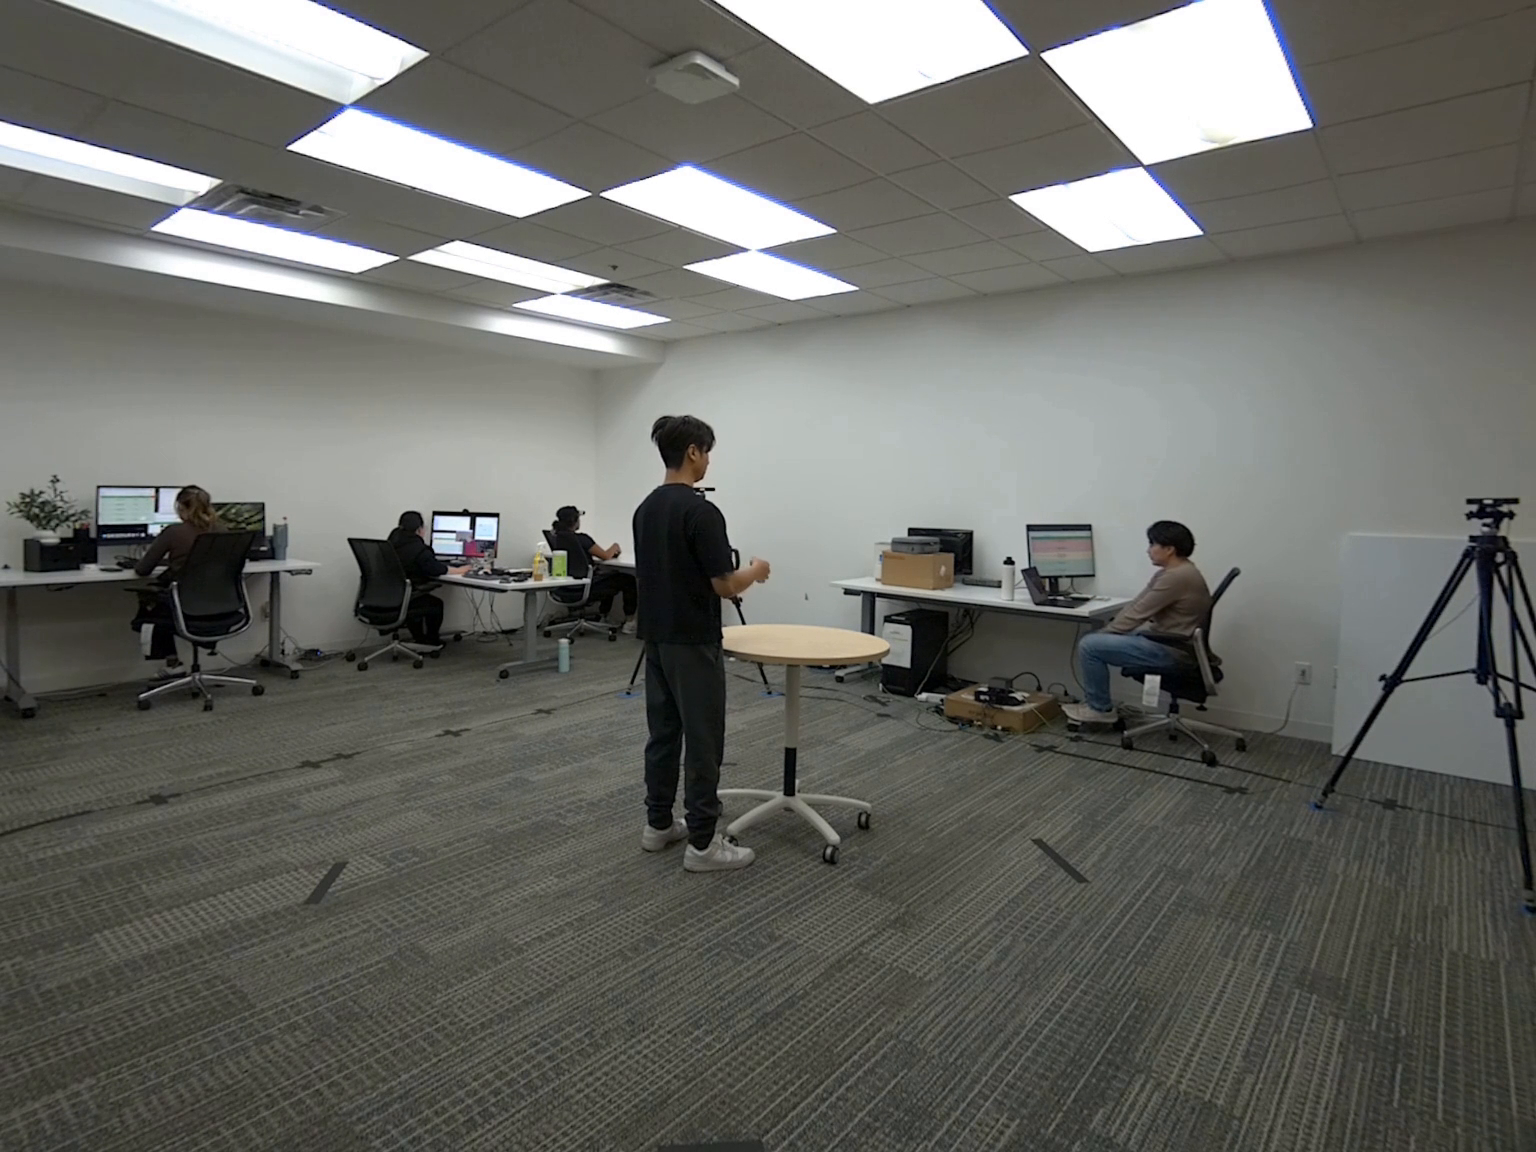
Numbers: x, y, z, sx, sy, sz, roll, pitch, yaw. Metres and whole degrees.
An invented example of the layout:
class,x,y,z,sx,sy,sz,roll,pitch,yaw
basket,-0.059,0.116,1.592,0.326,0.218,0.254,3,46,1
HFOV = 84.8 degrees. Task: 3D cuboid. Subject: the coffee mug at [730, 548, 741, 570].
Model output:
class,x,y,z,sx,sy,sz,roll,pitch,yaw
coffee mug,-0.197,-0.022,3.474,0.088,0.206,0.119,-5,-16,6
